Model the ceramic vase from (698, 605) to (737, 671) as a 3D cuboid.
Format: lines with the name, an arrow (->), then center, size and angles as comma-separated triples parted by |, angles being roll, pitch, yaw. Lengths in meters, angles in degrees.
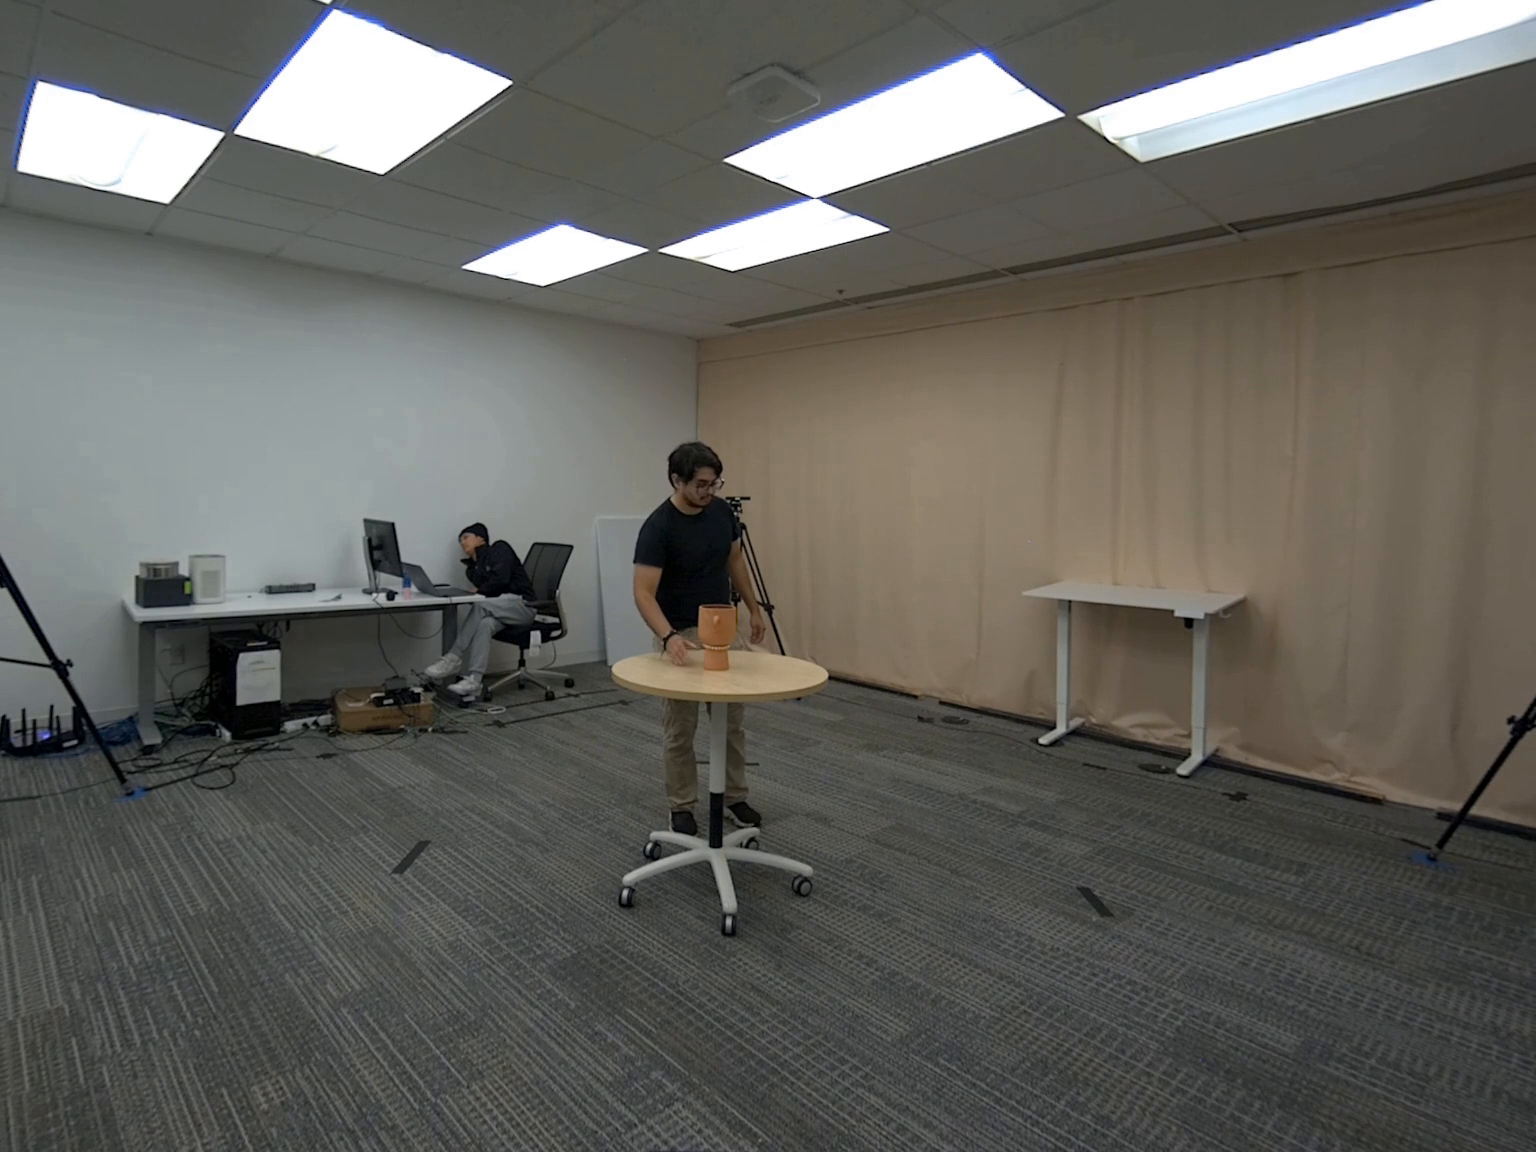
ceramic vase -> -0.198, 0.221, 3.003 | 0.138, 0.219, 0.155 | 6, 6, 40
